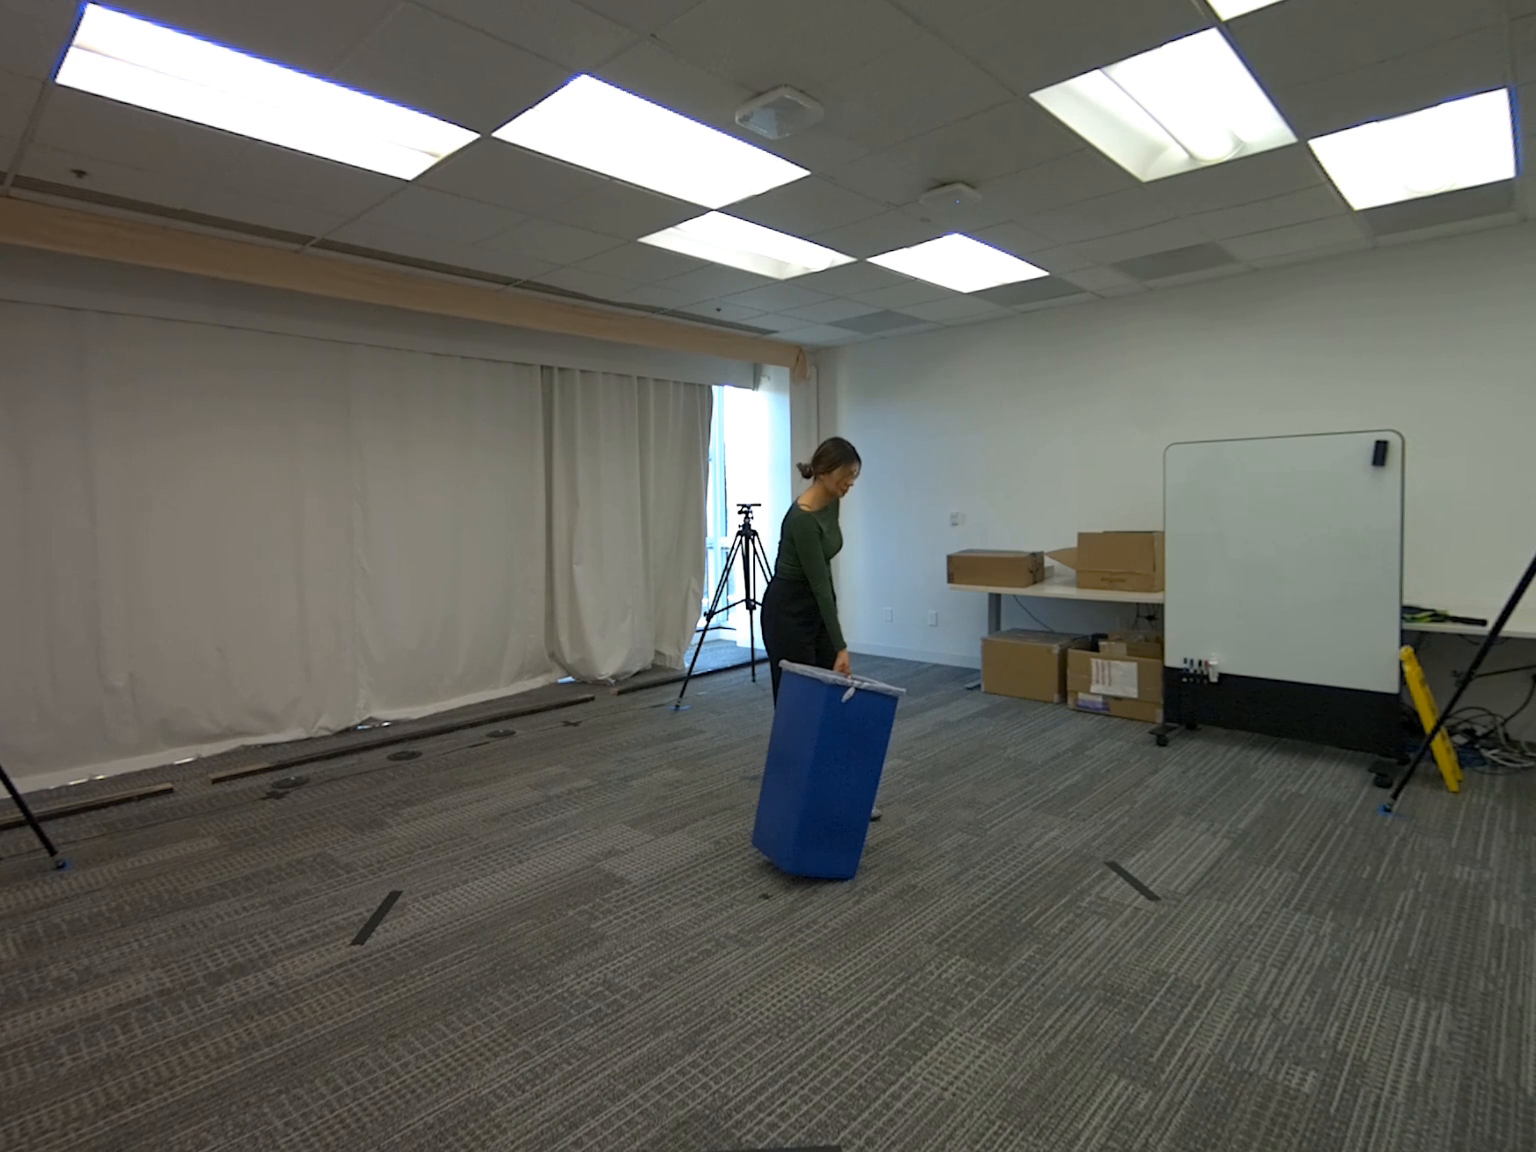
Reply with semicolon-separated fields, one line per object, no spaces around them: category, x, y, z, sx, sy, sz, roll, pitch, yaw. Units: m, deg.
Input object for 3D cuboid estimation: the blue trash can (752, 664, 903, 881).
blue trash can;0.203;0.725;3.194;0.364;0.714;0.388;15;-5;-27
